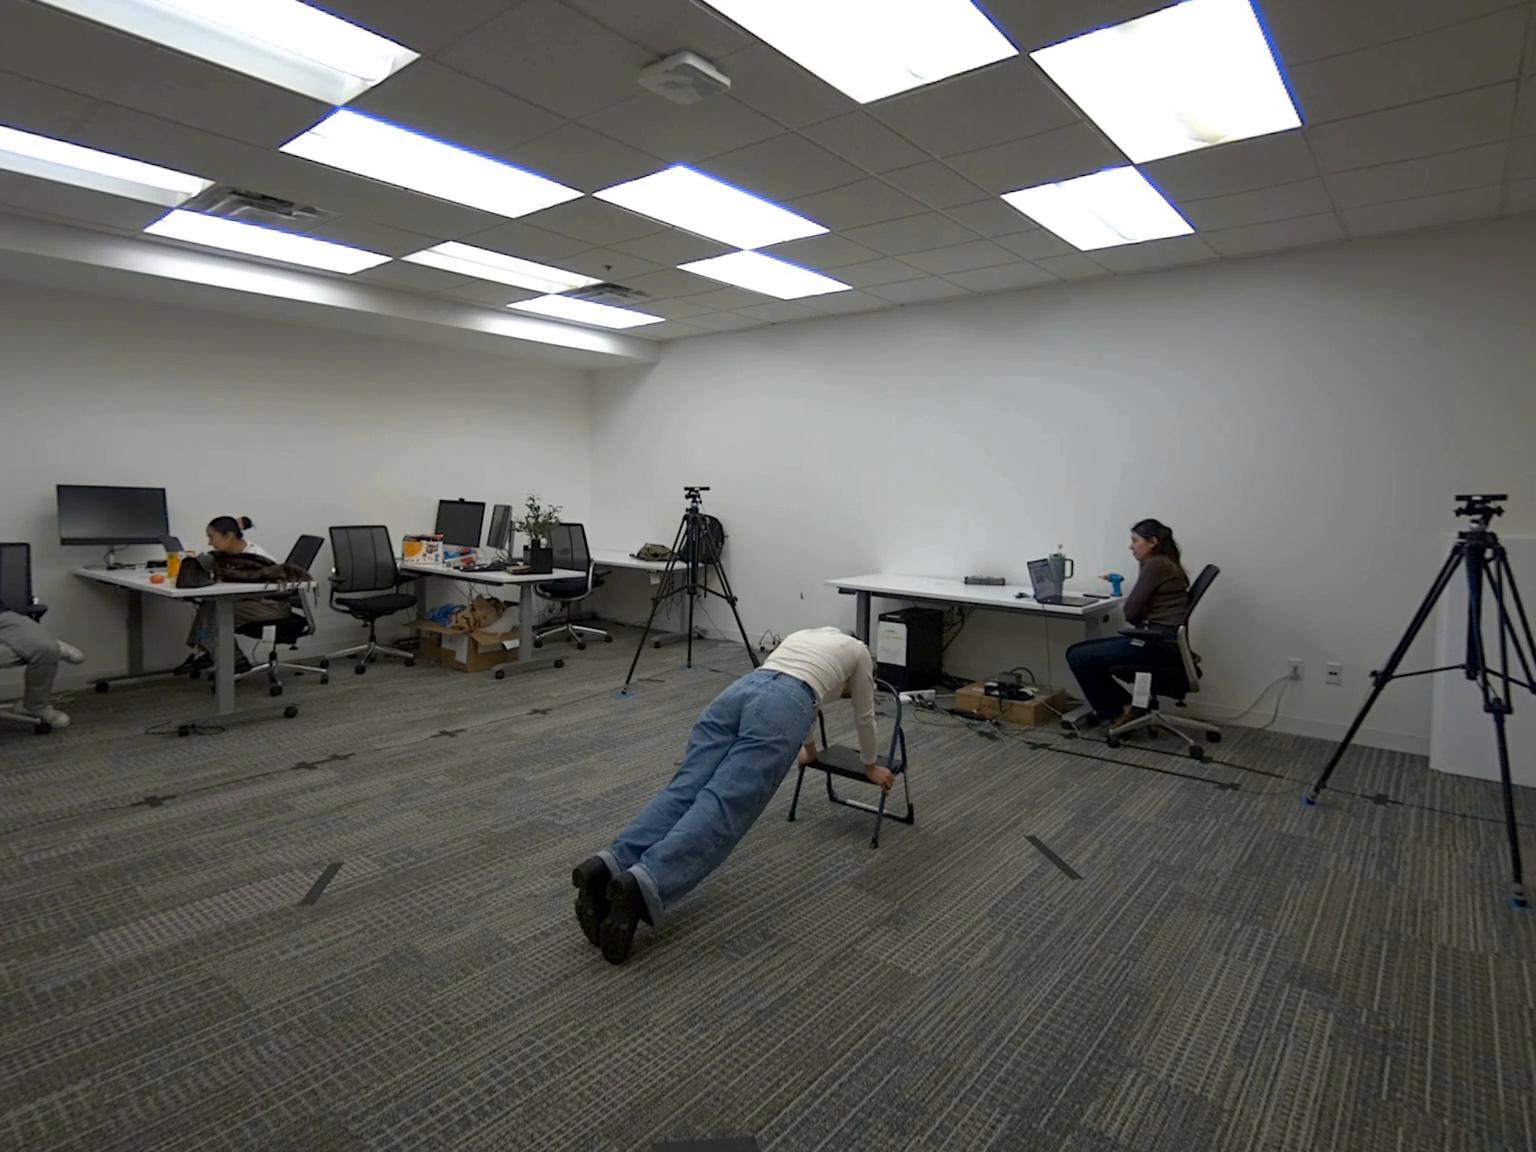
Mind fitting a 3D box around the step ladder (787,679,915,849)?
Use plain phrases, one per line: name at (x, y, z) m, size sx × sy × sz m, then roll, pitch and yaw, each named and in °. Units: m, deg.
step ladder at (0.352, 0.731, 3.563) m, size 0.445 × 0.604 × 0.339 m, roll 4°, pitch 5°, yaw 38°
